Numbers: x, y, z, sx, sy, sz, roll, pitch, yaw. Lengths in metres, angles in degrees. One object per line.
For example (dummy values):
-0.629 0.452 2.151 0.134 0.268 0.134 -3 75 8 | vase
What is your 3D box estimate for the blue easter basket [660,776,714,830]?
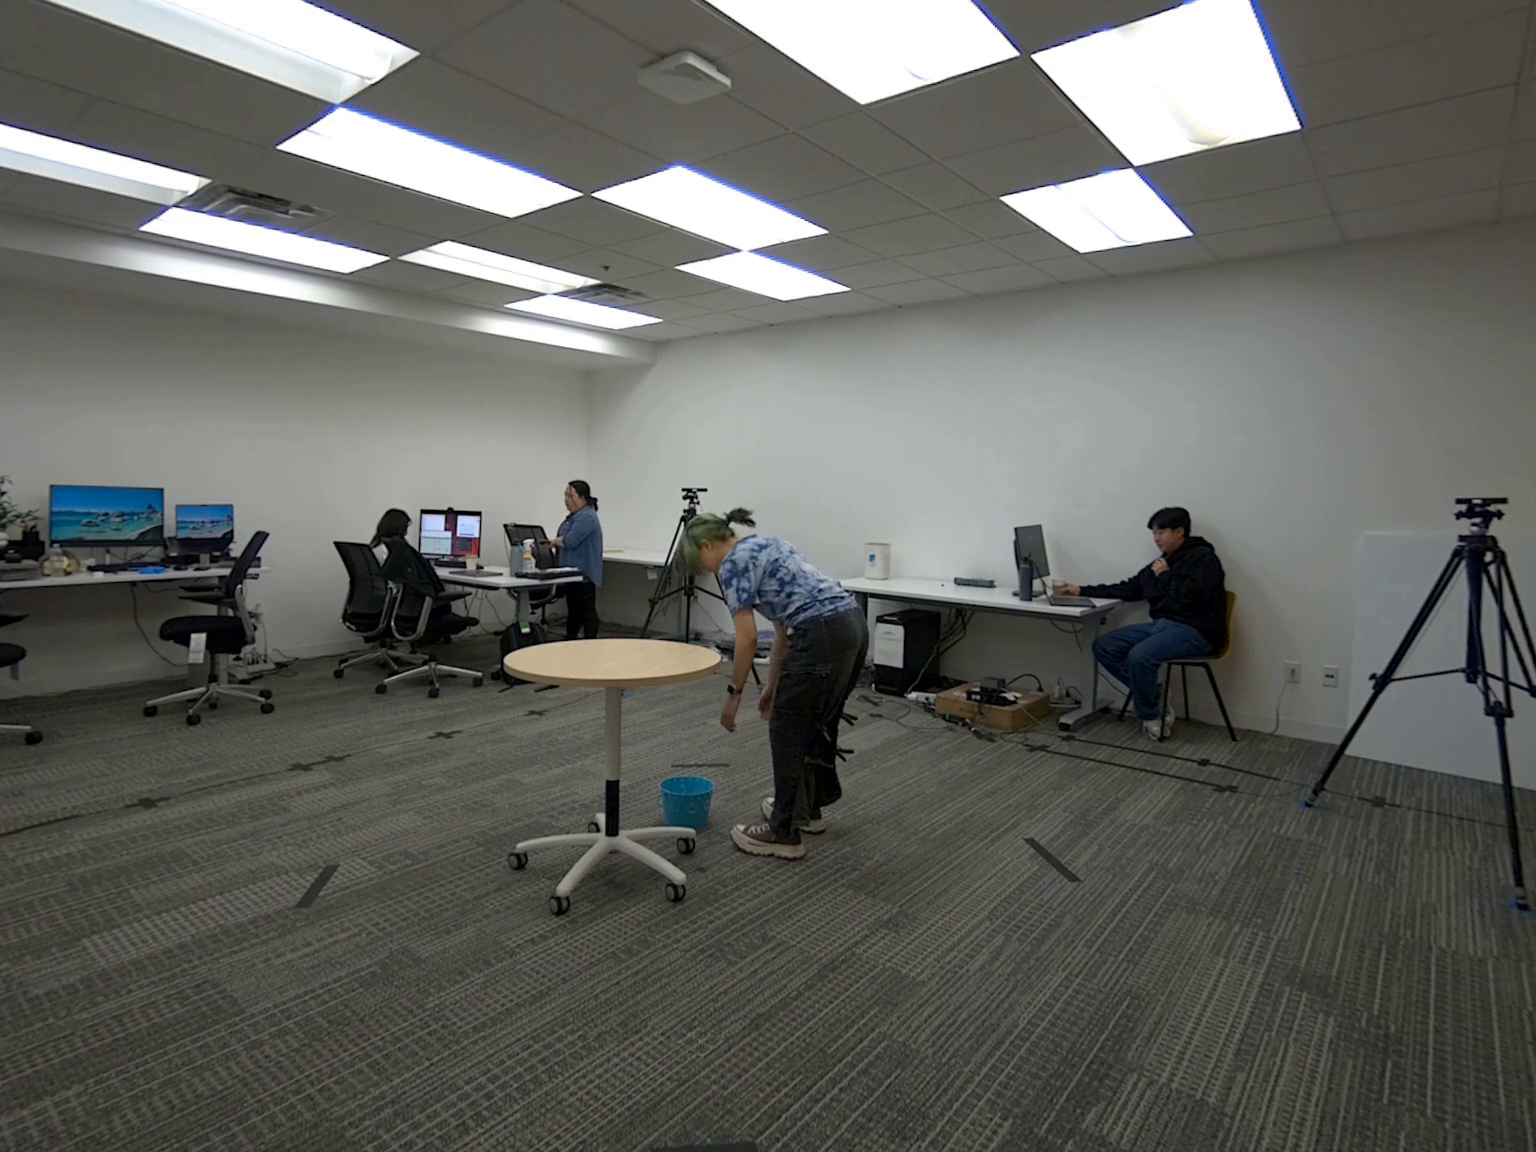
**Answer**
-0.352 0.947 3.572 0.243 0.155 0.245 1 5 -2 | blue easter basket
